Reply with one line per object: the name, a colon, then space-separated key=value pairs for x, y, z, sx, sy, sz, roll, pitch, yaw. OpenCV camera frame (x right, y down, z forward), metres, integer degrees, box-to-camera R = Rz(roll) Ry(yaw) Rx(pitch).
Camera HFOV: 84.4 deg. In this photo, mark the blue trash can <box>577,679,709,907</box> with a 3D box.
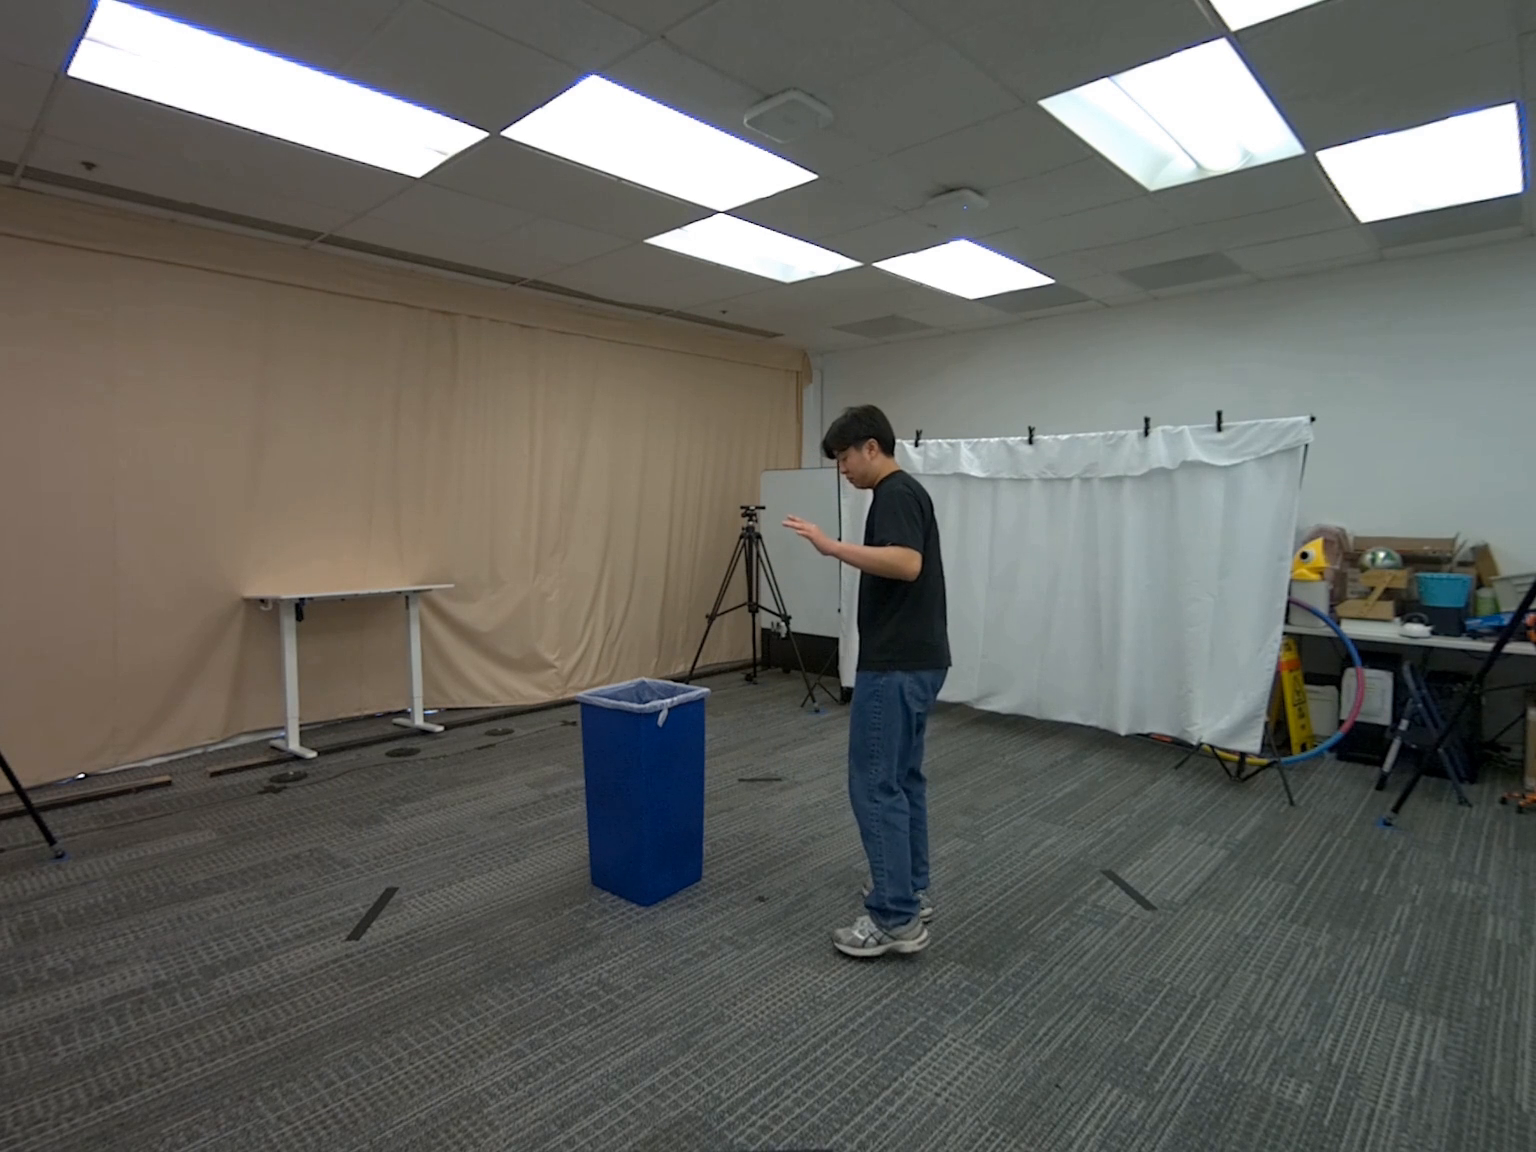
blue trash can: x=-0.464 y=0.779 z=3.115 sx=0.386 sy=0.712 sz=0.367 roll=2 pitch=4 yaw=39
